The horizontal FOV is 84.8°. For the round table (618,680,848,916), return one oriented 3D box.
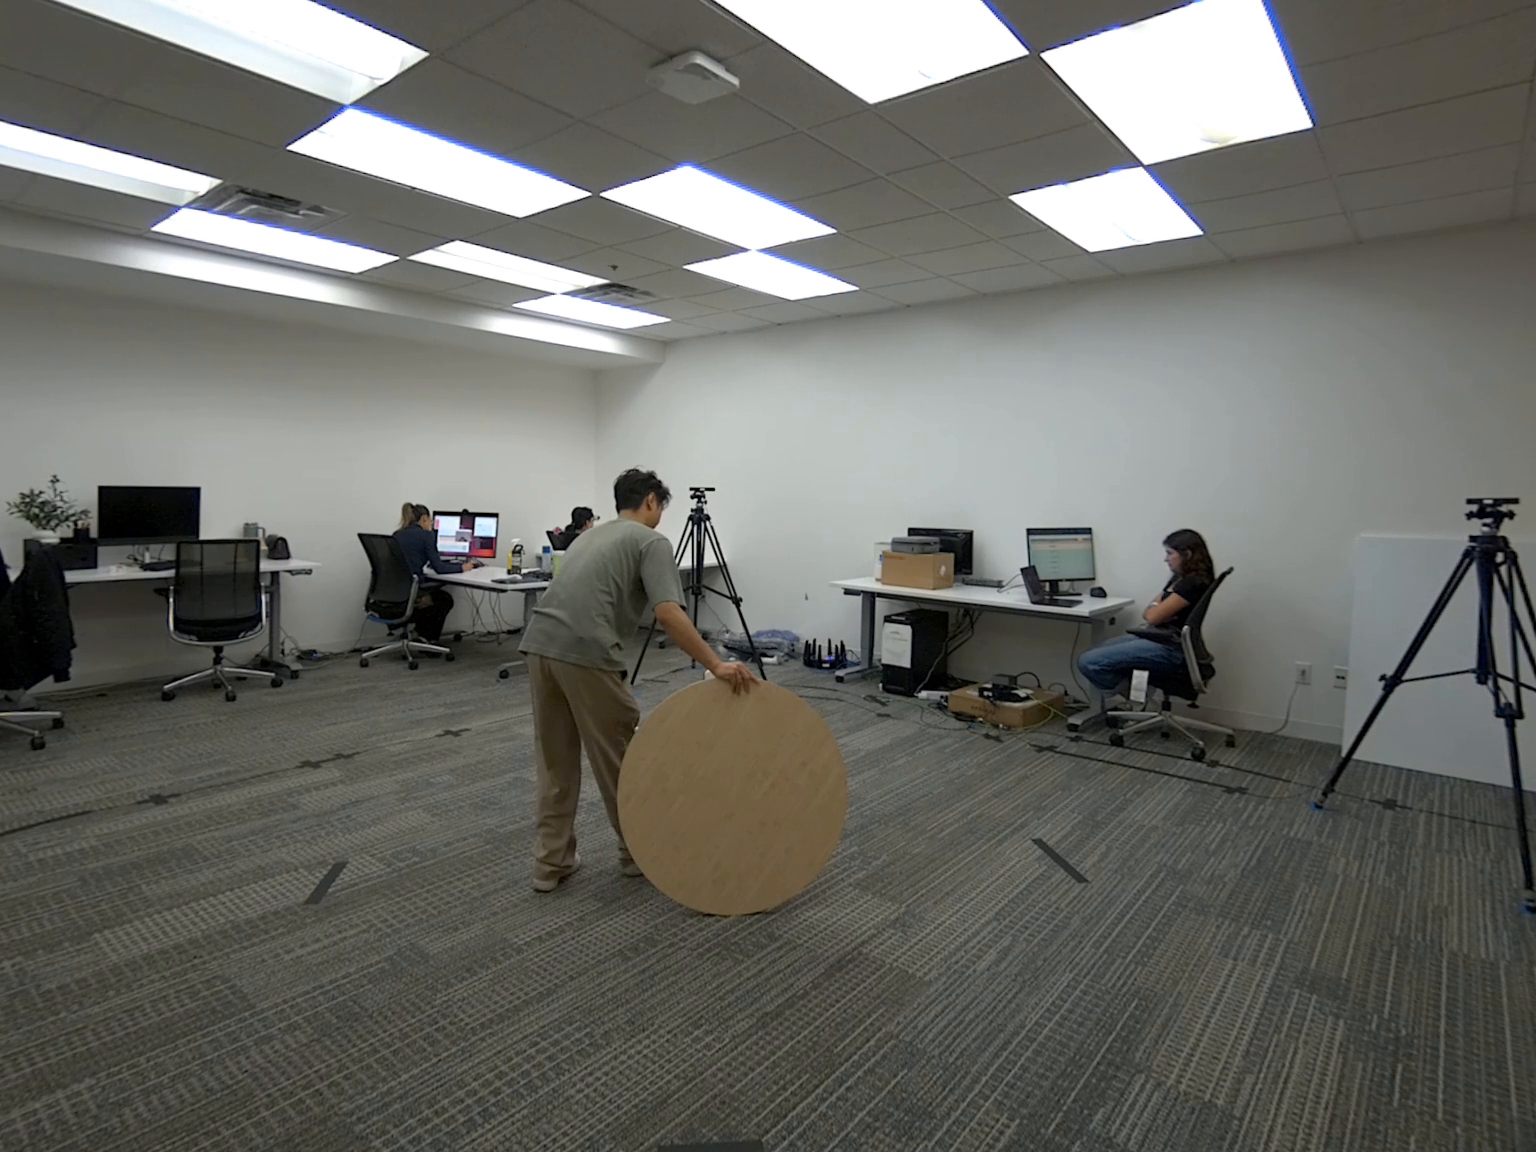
[{"bbox_3d":[-0.185,0.724,3.190,0.778,0.788,0.792,0,-3,-9],"label":"round table"}]
